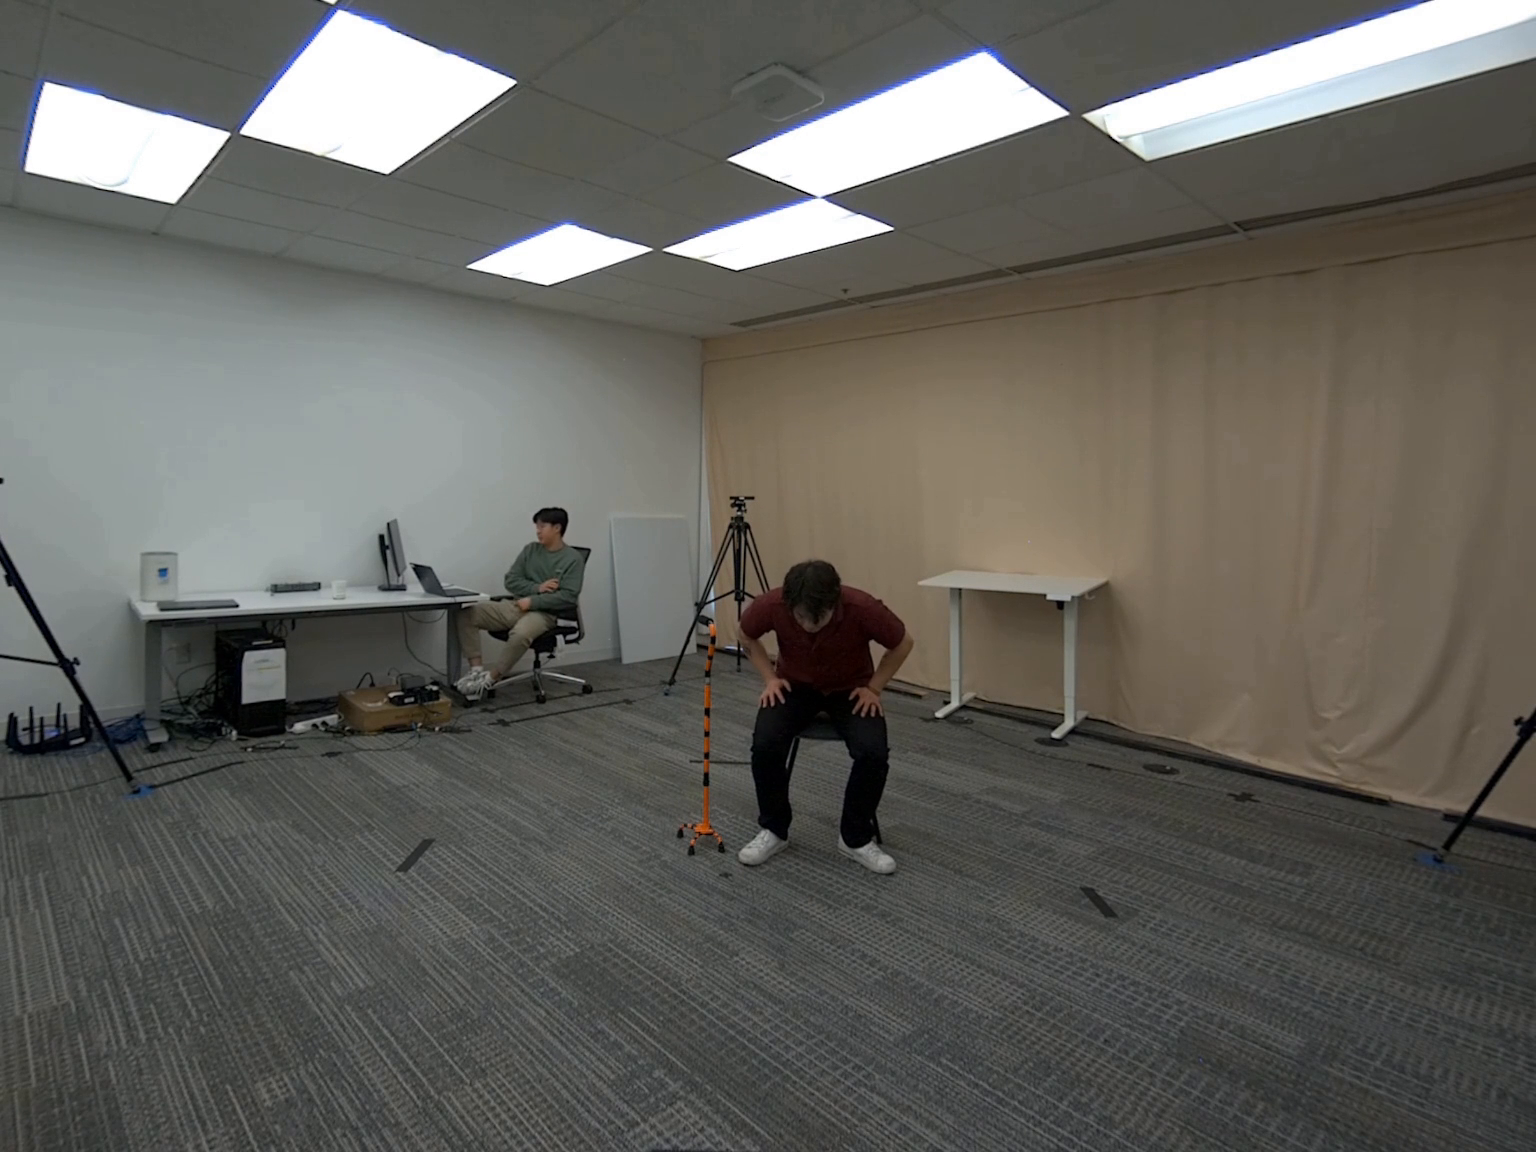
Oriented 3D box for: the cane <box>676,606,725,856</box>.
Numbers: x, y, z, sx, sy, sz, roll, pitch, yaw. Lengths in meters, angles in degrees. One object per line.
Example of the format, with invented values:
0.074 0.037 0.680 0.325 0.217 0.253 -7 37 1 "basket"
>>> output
-0.266 0.619 3.357 0.149 0.906 0.210 1 3 -21 "cane"
